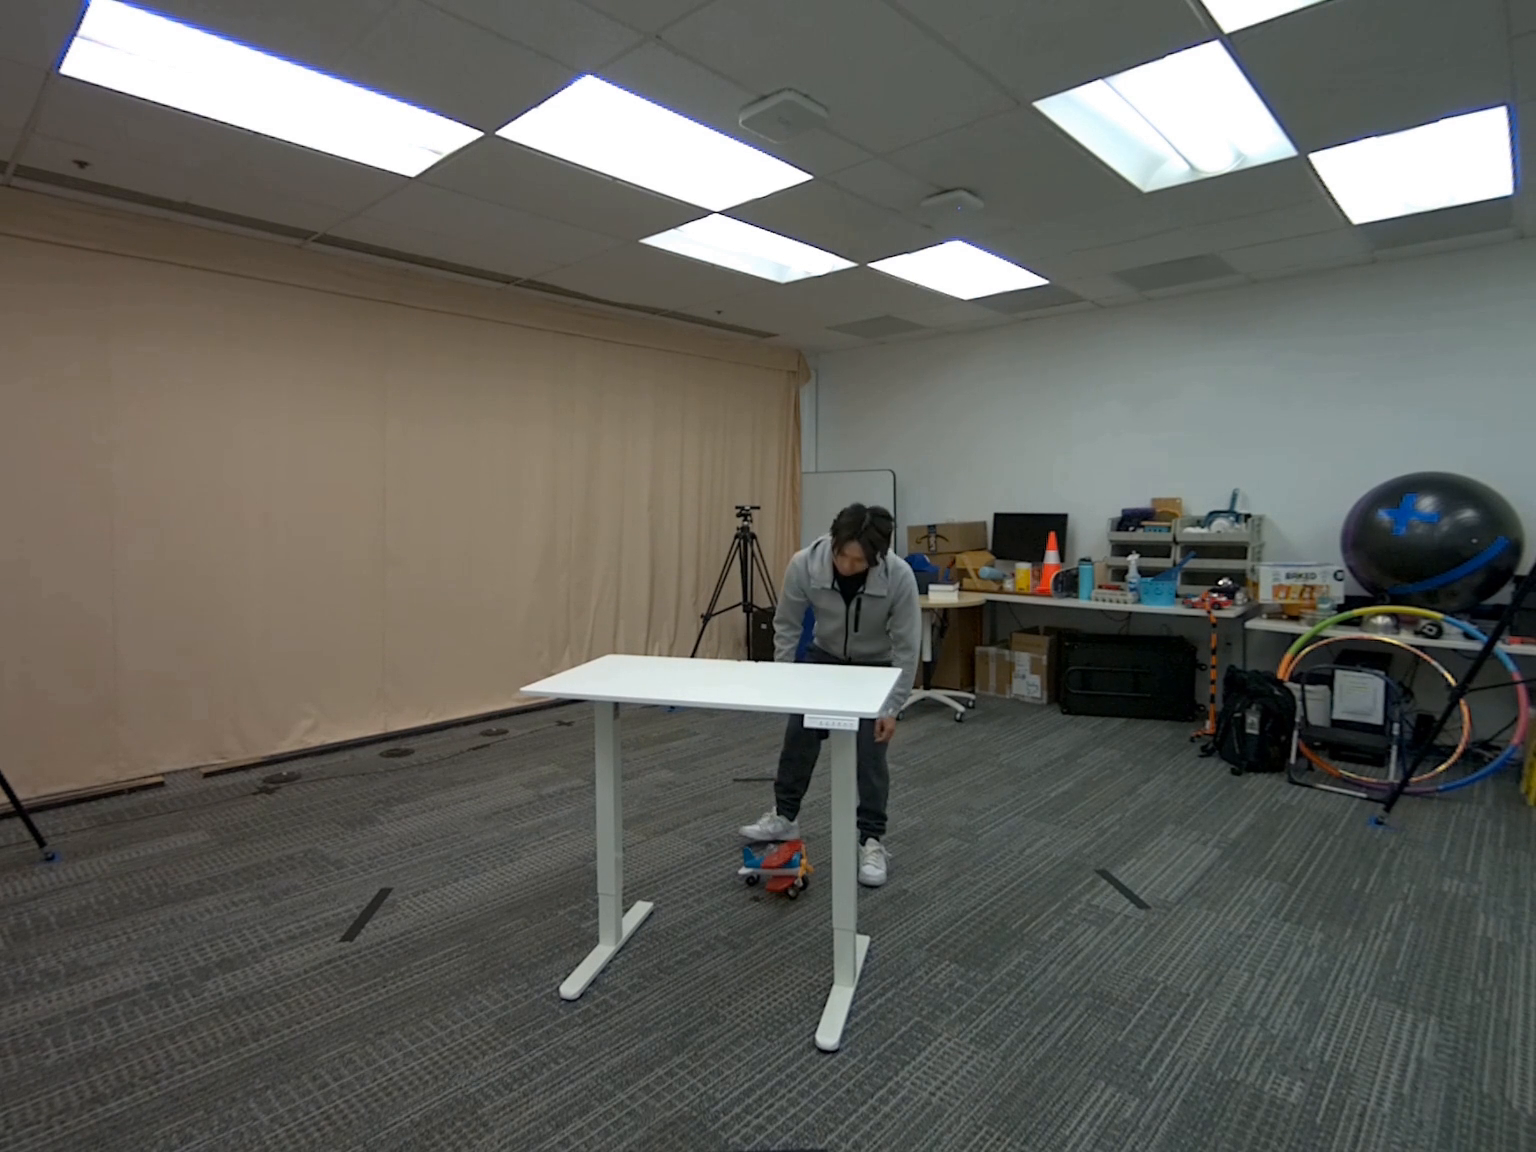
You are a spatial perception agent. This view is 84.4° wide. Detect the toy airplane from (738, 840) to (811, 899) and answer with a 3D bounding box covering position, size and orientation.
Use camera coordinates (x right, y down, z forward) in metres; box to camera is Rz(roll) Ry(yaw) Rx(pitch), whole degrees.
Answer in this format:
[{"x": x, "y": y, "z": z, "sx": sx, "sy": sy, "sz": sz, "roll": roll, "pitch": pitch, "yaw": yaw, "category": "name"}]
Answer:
[{"x": 0.021, "y": 1.065, "z": 3.040, "sx": 0.259, "sy": 0.156, "sz": 0.252, "roll": 2, "pitch": 4, "yaw": -1, "category": "toy airplane"}]
